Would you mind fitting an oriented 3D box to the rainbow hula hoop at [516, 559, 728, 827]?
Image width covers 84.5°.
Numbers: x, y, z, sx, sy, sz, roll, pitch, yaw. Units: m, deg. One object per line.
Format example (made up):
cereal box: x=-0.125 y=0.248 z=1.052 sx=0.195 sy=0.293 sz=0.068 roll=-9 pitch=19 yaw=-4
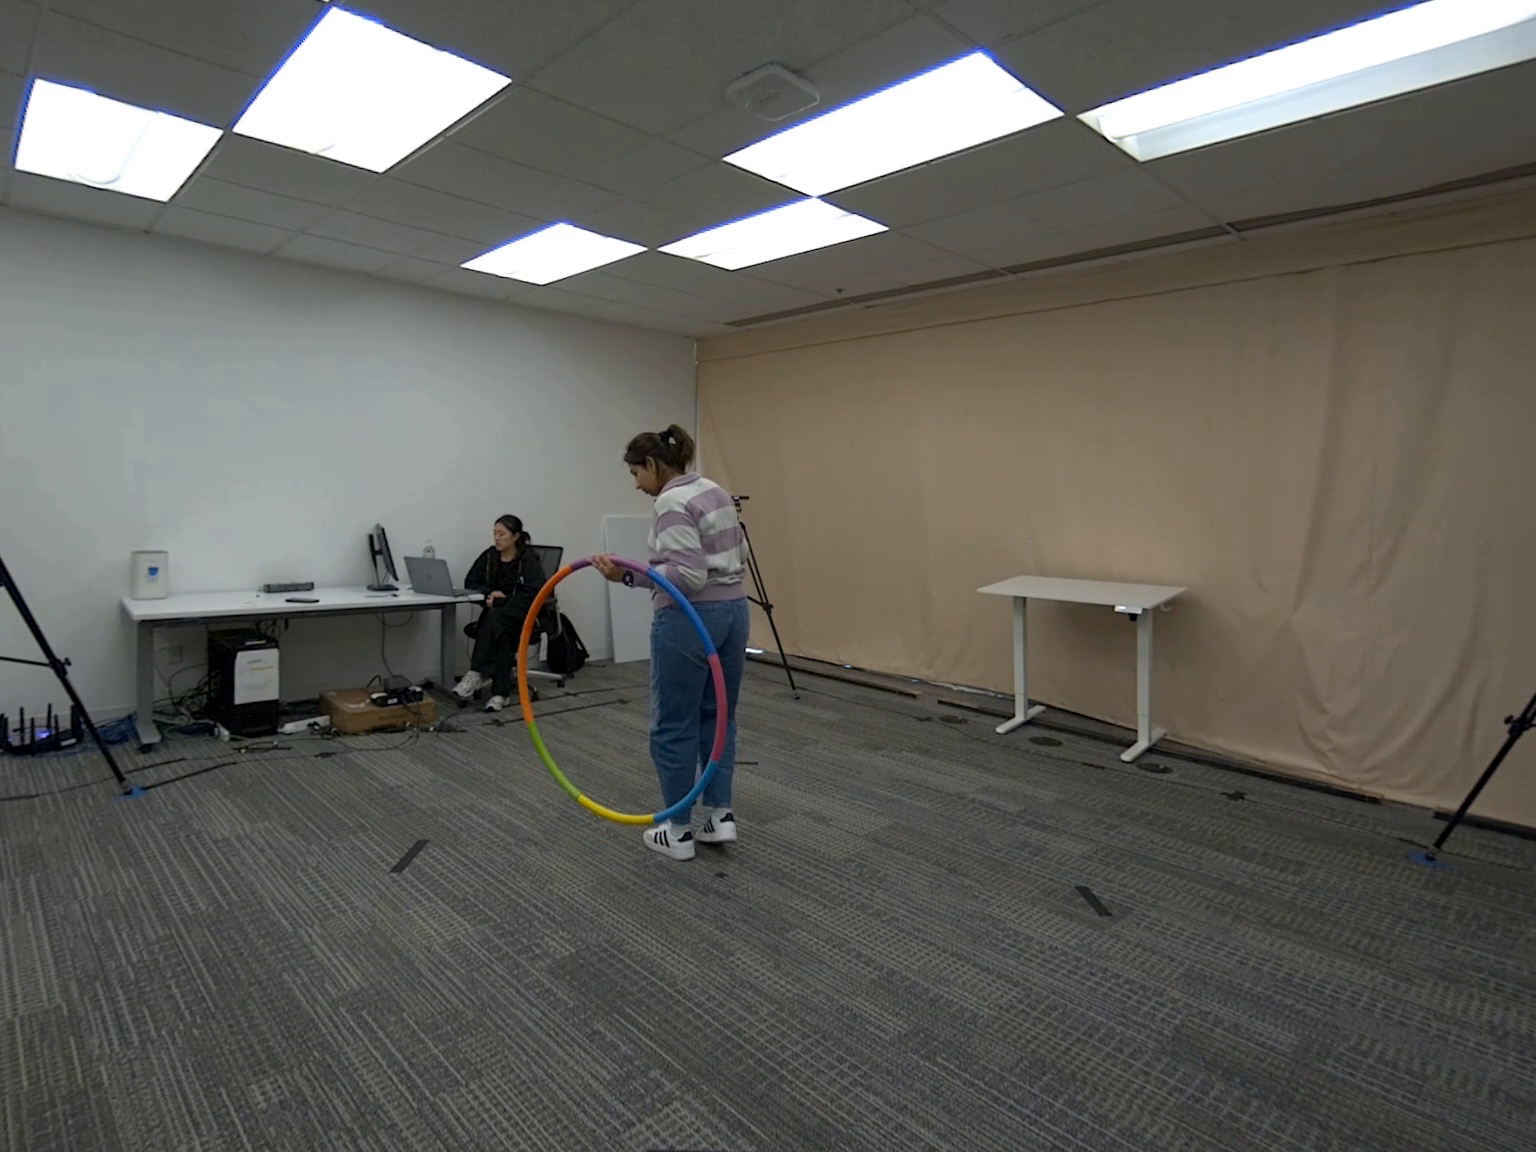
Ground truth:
rainbow hula hoop: x=-0.567 y=0.426 z=3.076 sx=1.008 sy=0.981 sz=0.050 roll=4 pitch=6 yaw=33
